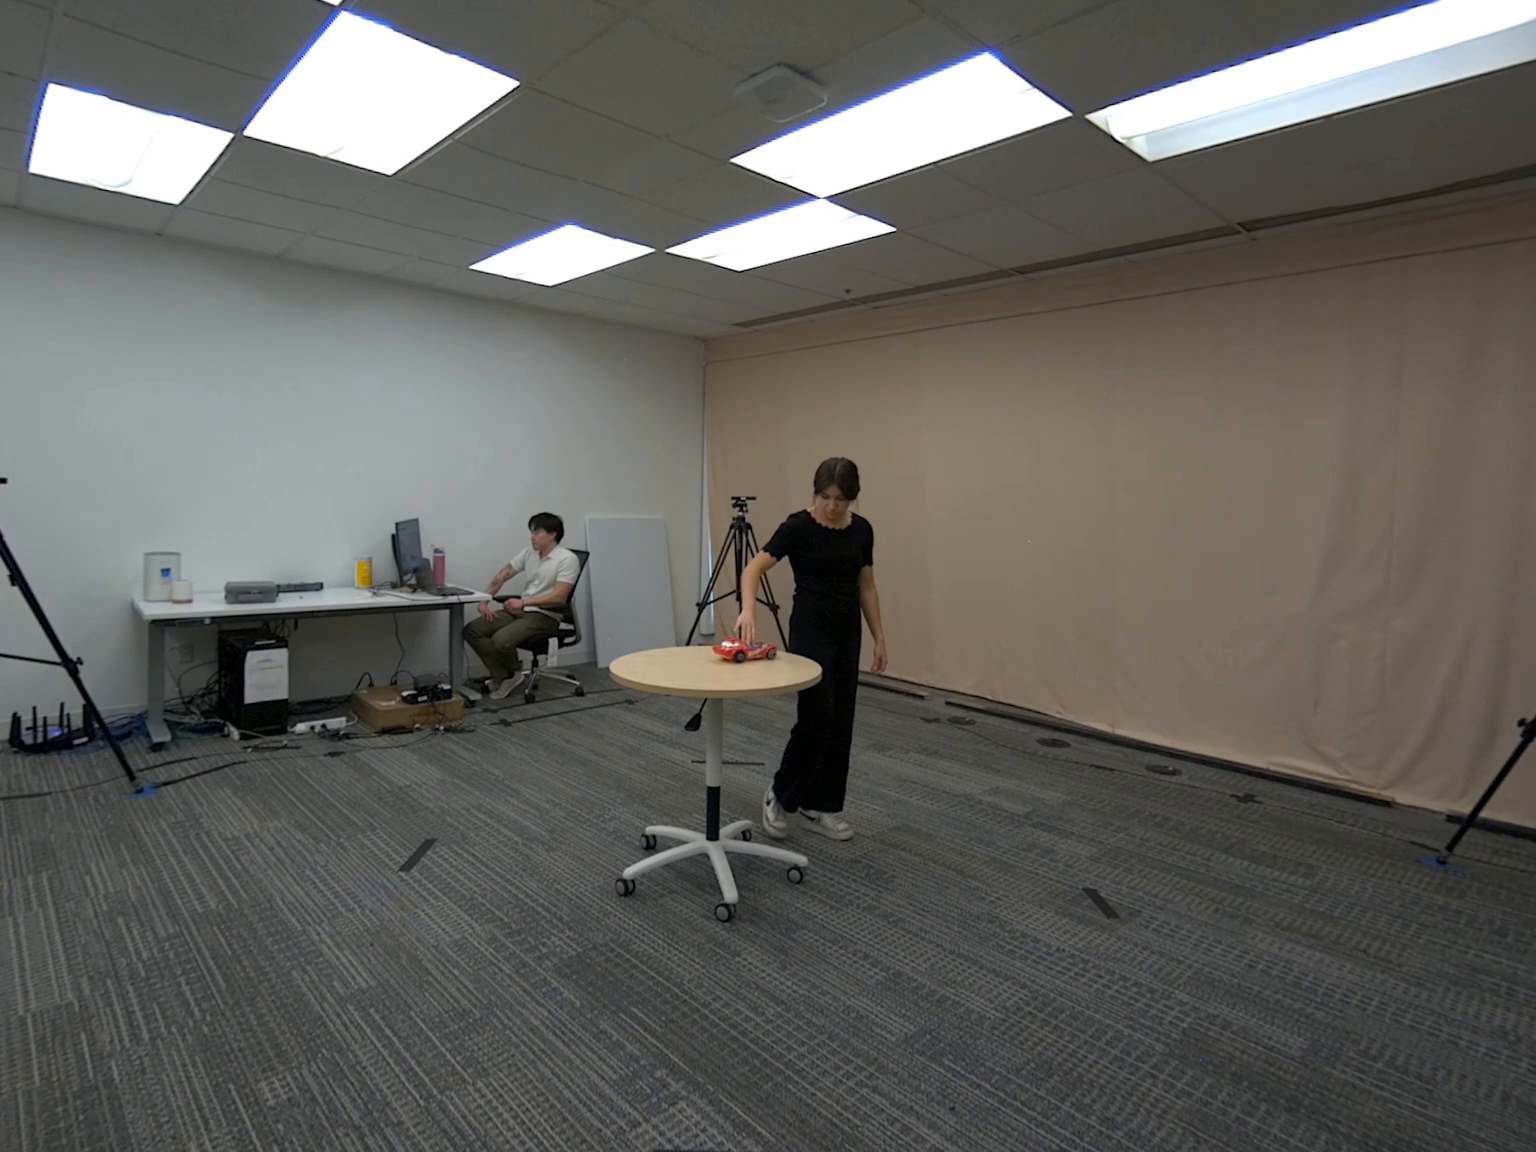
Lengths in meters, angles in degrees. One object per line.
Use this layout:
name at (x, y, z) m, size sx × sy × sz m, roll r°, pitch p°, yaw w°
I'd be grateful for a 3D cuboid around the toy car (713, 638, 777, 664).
toy car at (-0.105, 0.284, 3.162) m, size 0.248 × 0.083 × 0.133 m, roll 11°, pitch -2°, yaw -32°
